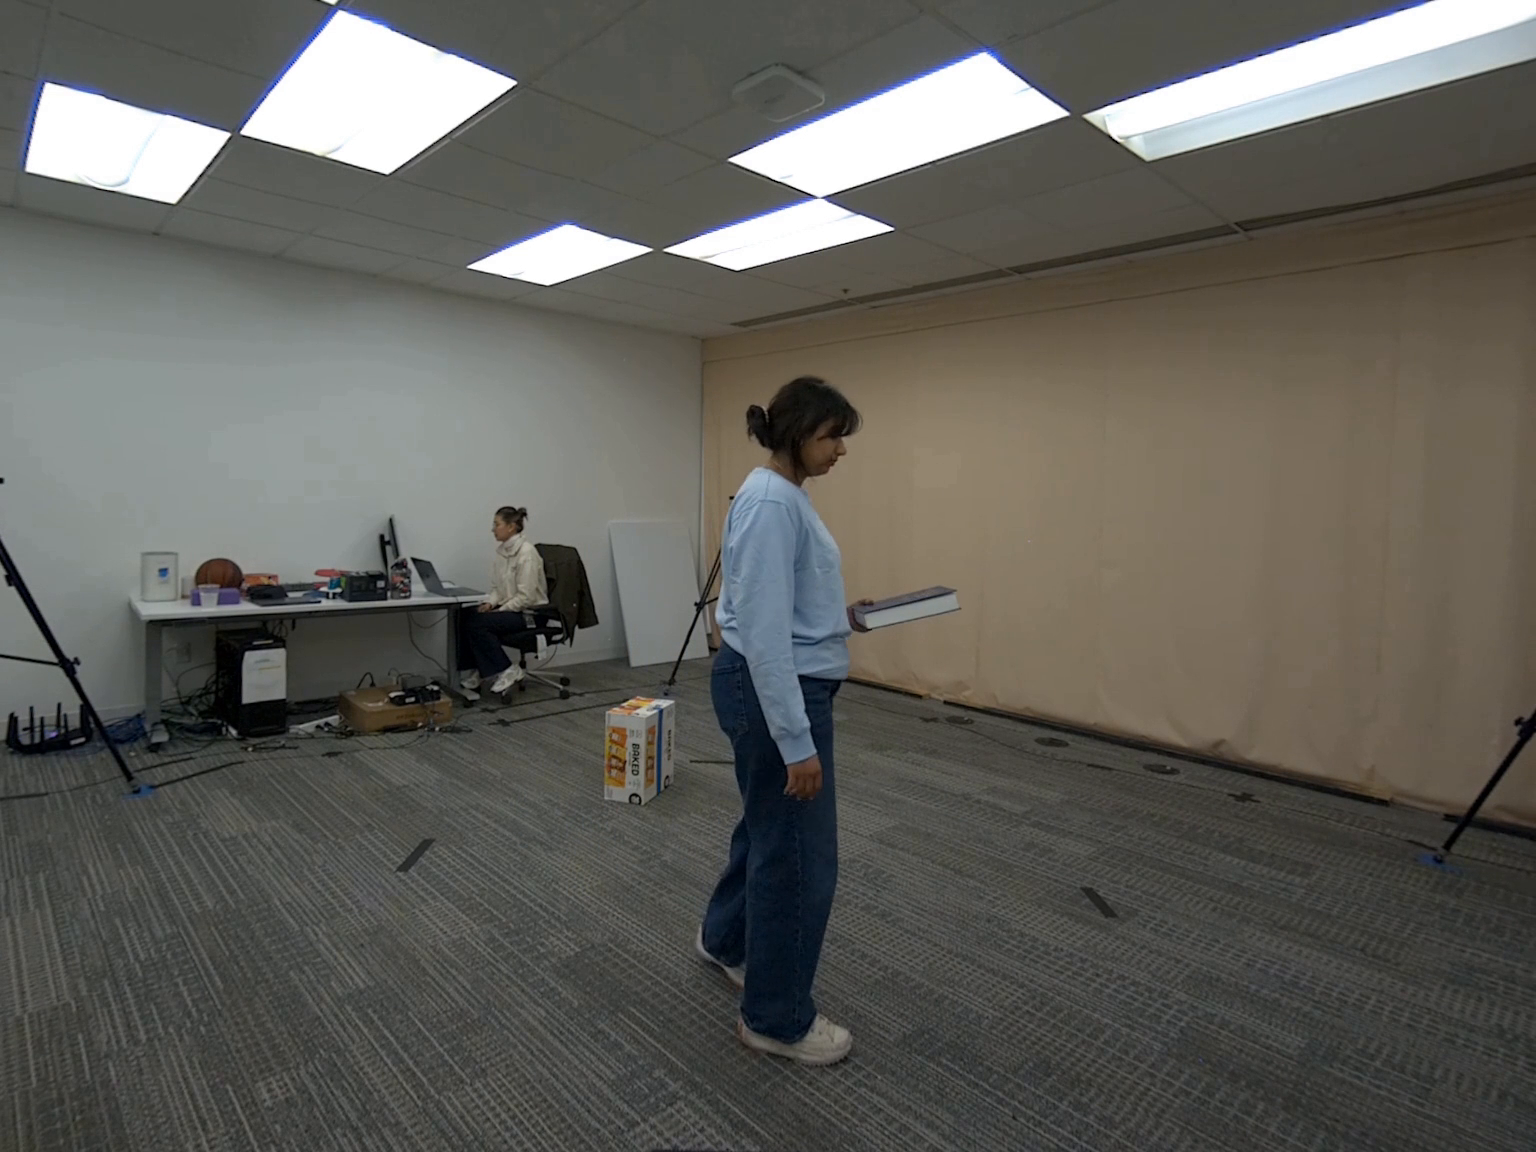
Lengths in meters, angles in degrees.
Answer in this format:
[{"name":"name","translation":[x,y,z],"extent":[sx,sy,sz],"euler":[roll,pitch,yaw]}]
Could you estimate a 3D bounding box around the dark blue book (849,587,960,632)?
[{"name":"dark blue book","translation":[0.345,0.079,2.178],"extent":[0.245,0.045,0.164],"euler":[-13,5,2]}]
